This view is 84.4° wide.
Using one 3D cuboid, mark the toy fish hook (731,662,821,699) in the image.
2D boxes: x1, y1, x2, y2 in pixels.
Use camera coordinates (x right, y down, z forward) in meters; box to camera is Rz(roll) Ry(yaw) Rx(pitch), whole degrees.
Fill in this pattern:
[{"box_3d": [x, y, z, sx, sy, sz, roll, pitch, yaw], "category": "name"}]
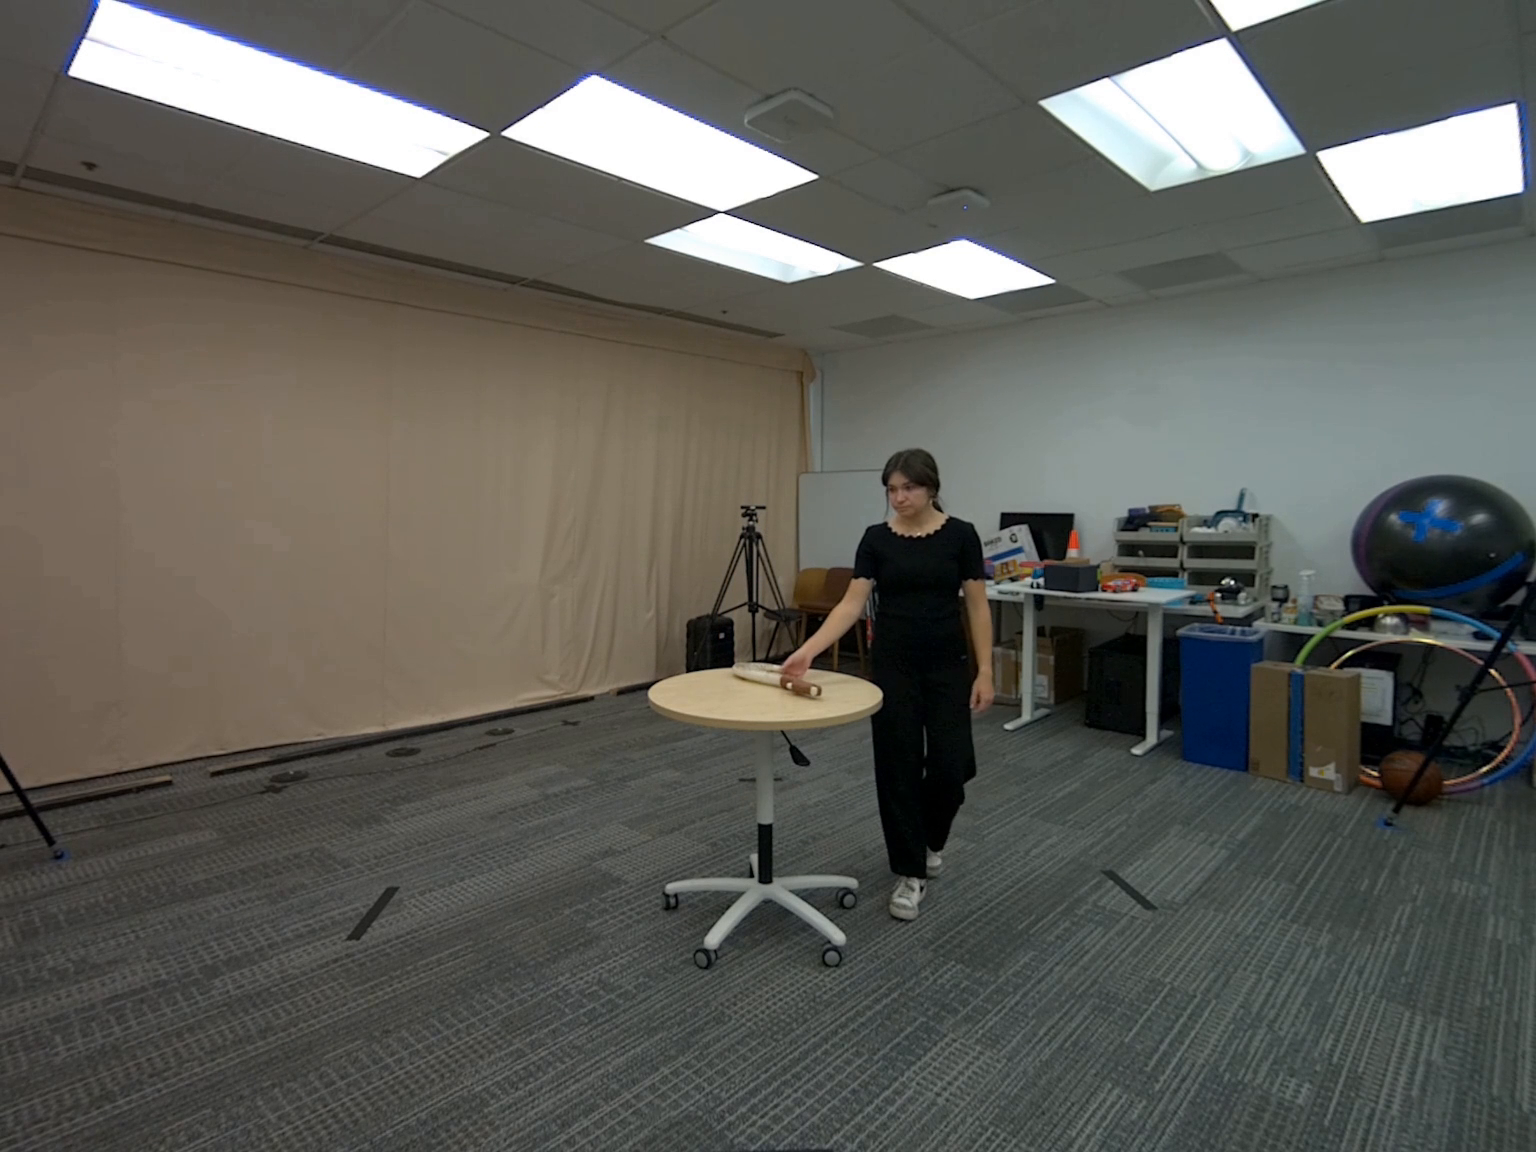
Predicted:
[{"box_3d": [0.074, 0.348, 2.863, 0.219, 0.048, 0.521, -9, 9, -29], "category": "toy fish hook"}]
